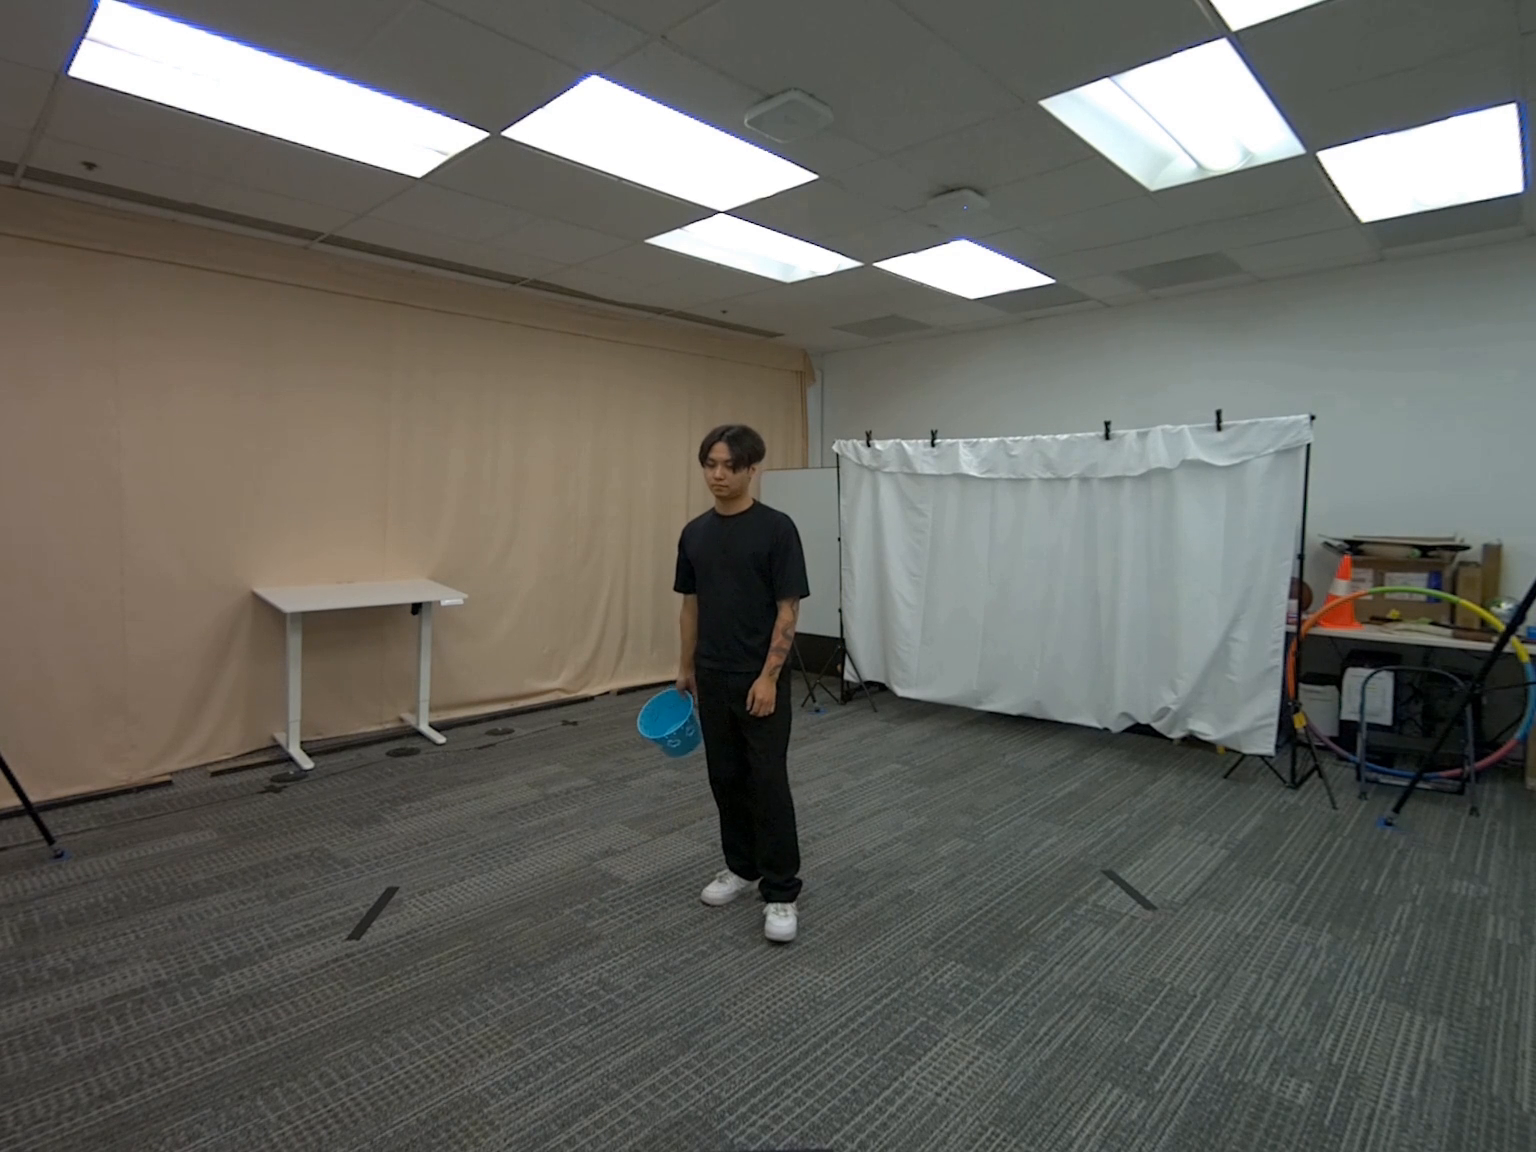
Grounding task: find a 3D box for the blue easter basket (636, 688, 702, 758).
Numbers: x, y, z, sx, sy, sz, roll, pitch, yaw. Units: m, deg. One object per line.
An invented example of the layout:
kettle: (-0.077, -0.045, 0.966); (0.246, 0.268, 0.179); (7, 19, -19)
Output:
blue easter basket: (-0.353, 0.552, 3.142); (0.246, 0.151, 0.248); (-20, 34, 12)
